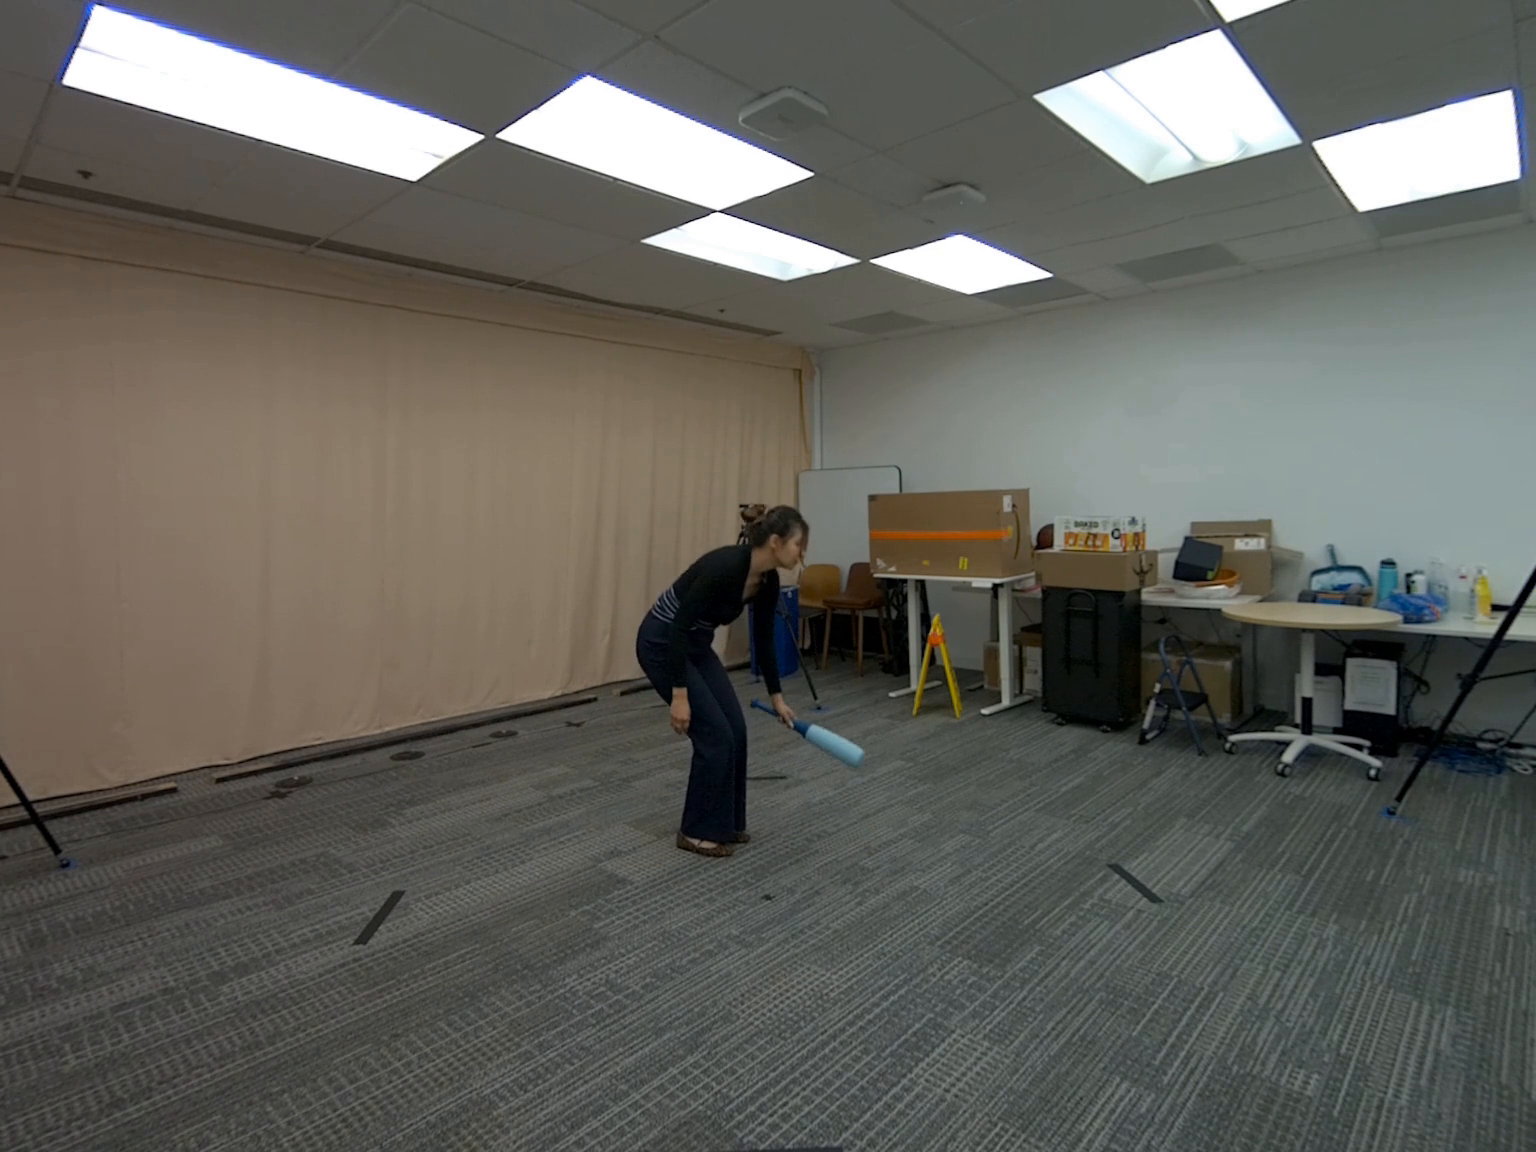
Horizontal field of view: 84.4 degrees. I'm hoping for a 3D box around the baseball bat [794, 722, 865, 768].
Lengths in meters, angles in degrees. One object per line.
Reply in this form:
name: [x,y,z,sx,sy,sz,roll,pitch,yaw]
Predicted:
baseball bat: [0.156,0.654,3.542,0.559,0.089,0.087,23,14,27]
